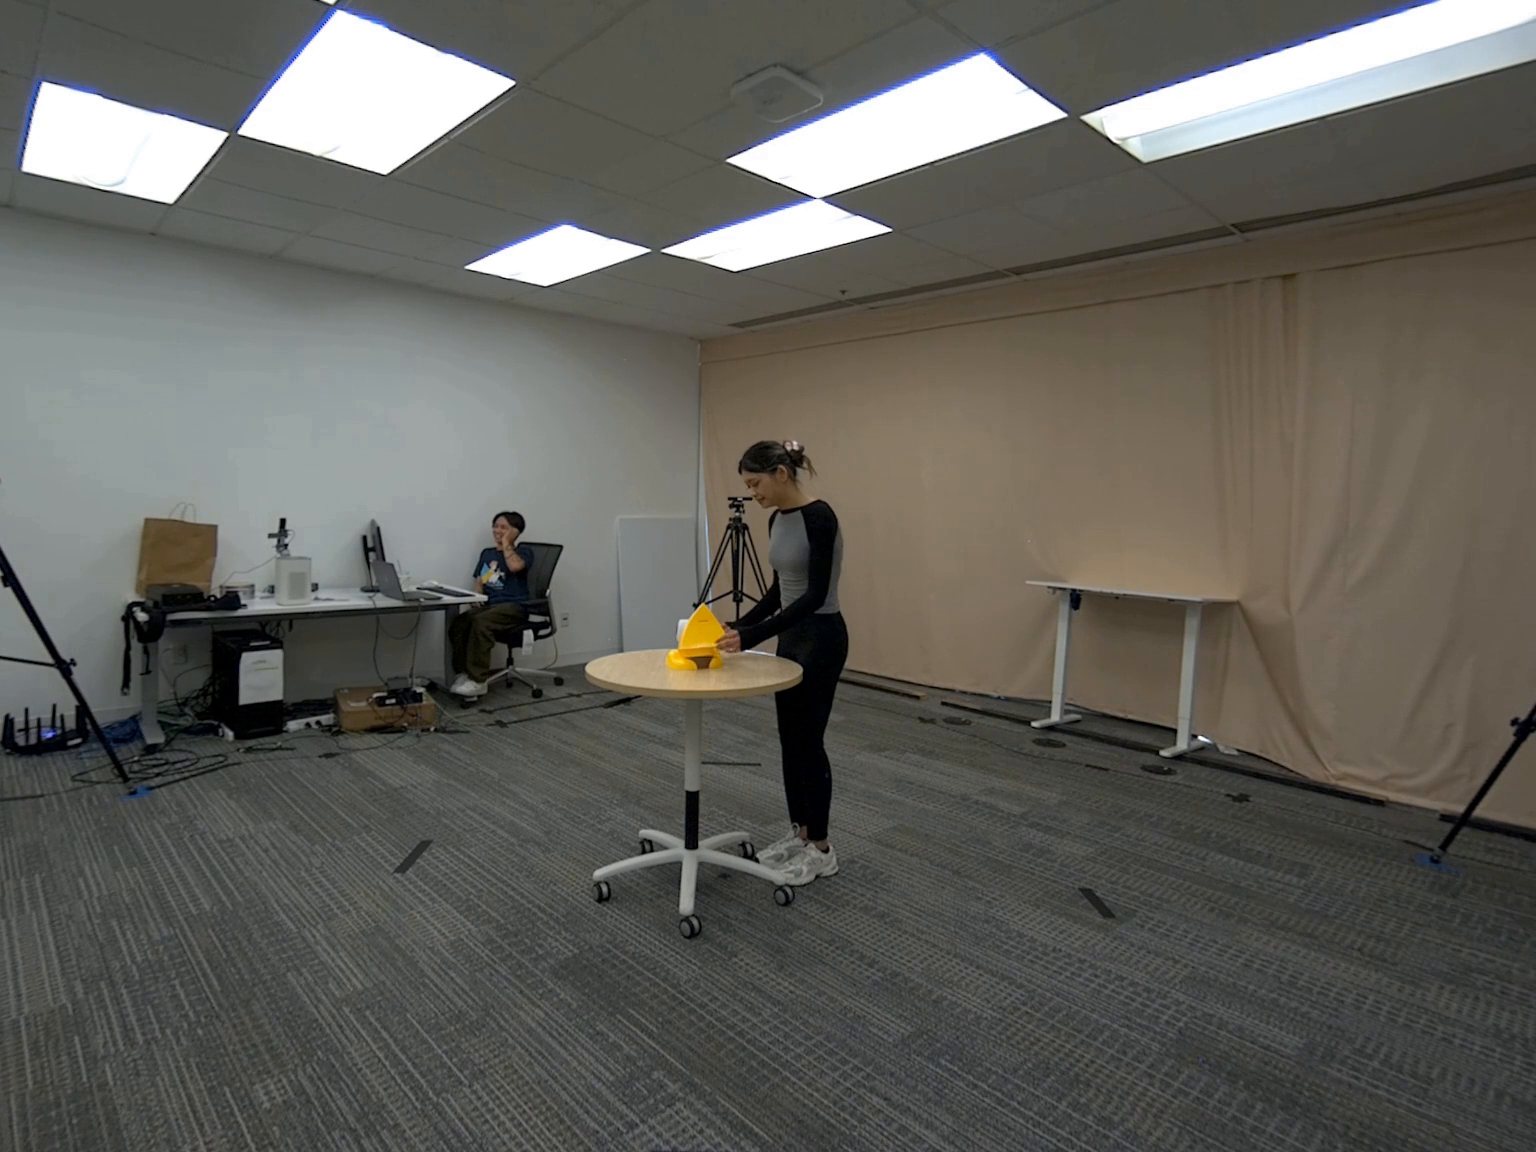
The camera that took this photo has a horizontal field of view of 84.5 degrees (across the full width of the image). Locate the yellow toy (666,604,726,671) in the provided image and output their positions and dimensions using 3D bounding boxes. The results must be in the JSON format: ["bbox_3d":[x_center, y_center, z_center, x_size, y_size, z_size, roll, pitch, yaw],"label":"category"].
[{"bbox_3d":[-0.264,0.207,3.000,0.201,0.230,0.197,-2,4,-28],"label":"yellow toy"}]
